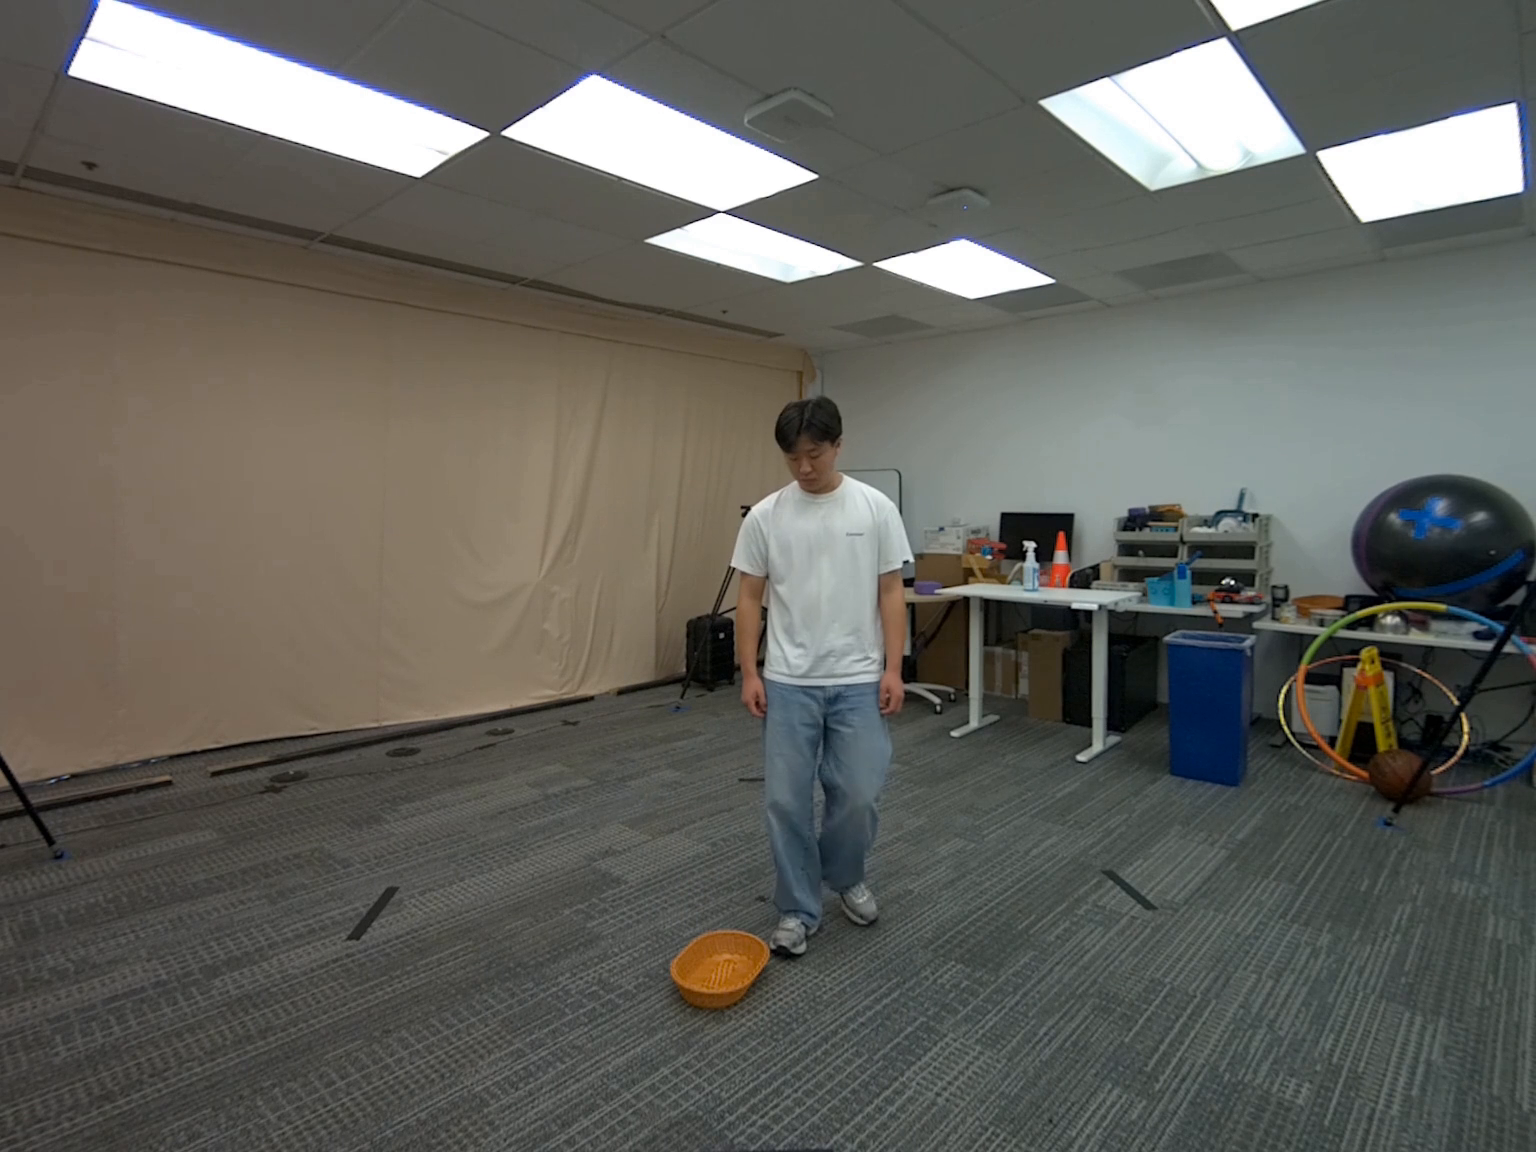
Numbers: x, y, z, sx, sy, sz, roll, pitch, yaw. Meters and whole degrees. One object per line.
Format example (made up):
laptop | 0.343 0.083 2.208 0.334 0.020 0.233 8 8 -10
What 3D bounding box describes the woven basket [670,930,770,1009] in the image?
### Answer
woven basket | -0.131 1.153 2.457 0.259 0.073 0.341 2 4 29
